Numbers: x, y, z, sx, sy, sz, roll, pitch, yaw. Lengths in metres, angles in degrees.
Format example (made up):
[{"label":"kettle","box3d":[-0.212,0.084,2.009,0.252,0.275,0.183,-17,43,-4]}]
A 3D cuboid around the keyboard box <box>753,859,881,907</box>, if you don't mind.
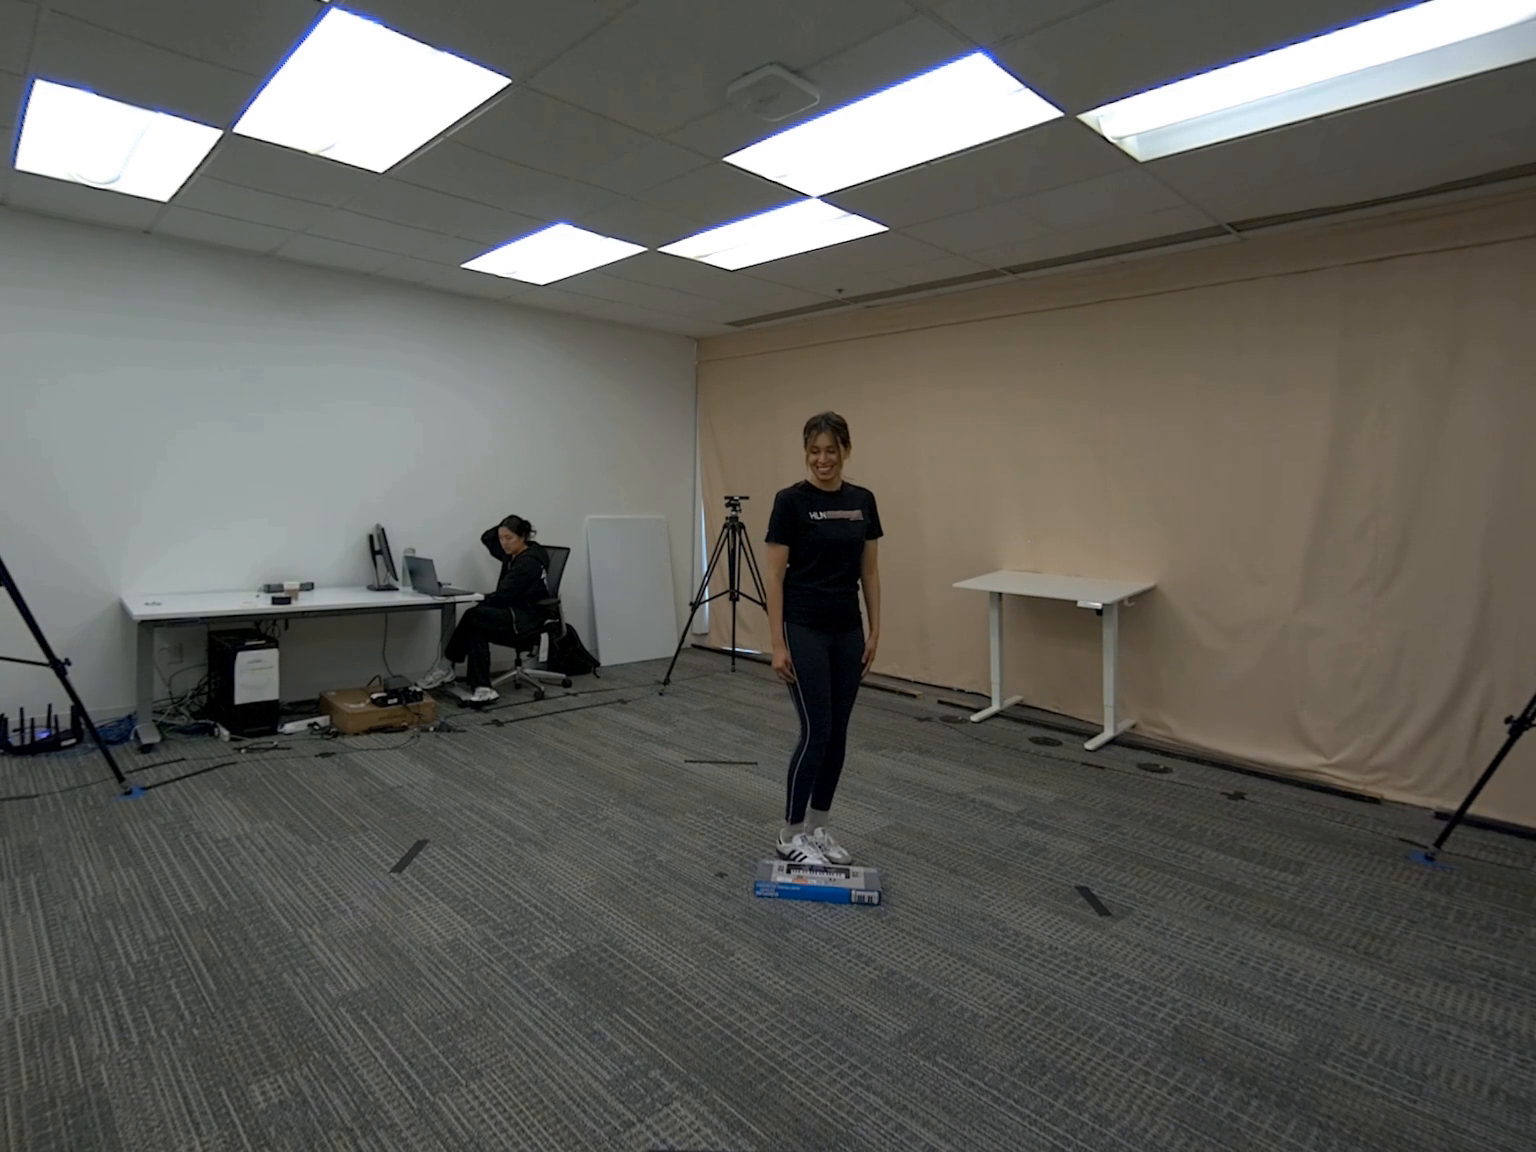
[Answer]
[{"label":"keyboard box","box3d":[0.172,1.091,2.995,0.439,0.059,0.175,2,6,7]}]
